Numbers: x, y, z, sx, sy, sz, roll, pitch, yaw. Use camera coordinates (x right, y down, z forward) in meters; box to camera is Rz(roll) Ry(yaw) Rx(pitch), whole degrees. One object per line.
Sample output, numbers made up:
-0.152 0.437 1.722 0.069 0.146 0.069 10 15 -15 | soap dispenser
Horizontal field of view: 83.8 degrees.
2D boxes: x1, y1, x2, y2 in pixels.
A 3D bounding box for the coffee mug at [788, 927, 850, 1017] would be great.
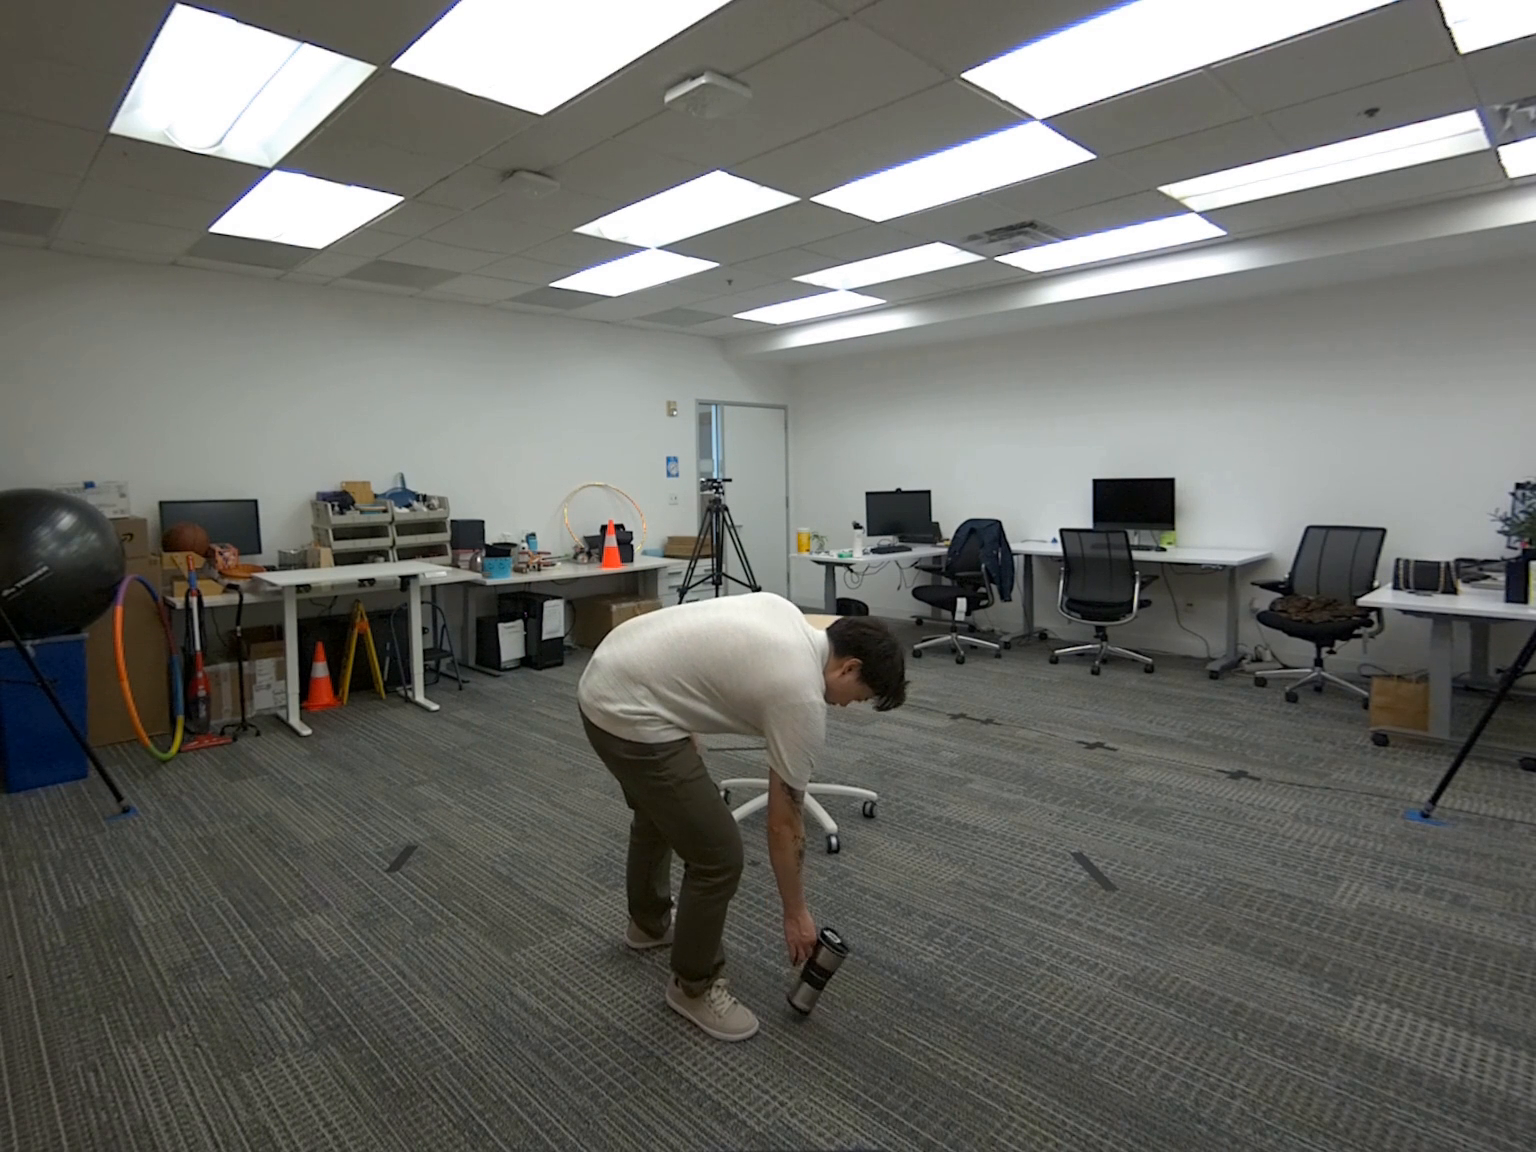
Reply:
0.128 1.023 2.230 0.085 0.202 0.126 19 6 -36 | coffee mug
